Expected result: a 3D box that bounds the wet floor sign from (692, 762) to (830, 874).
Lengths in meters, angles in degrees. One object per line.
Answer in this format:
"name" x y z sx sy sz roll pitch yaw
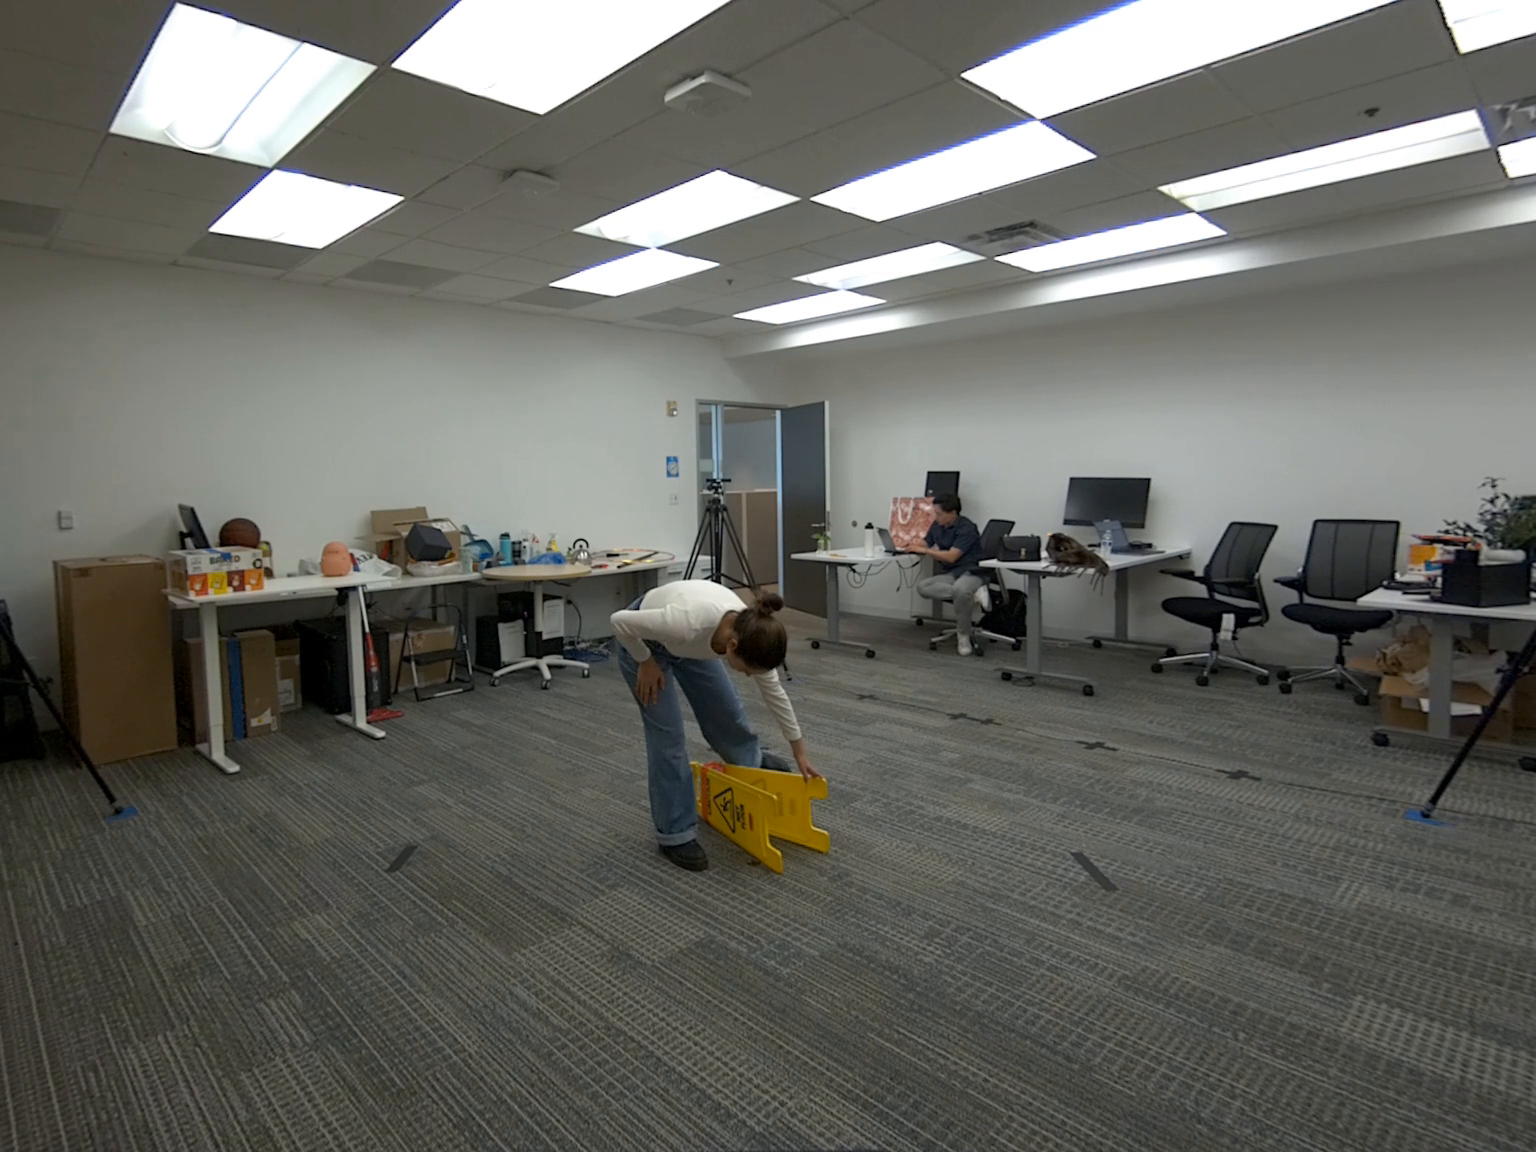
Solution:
"wet floor sign" -0.097 0.890 3.332 0.282 0.281 0.665 -5 5 -43
